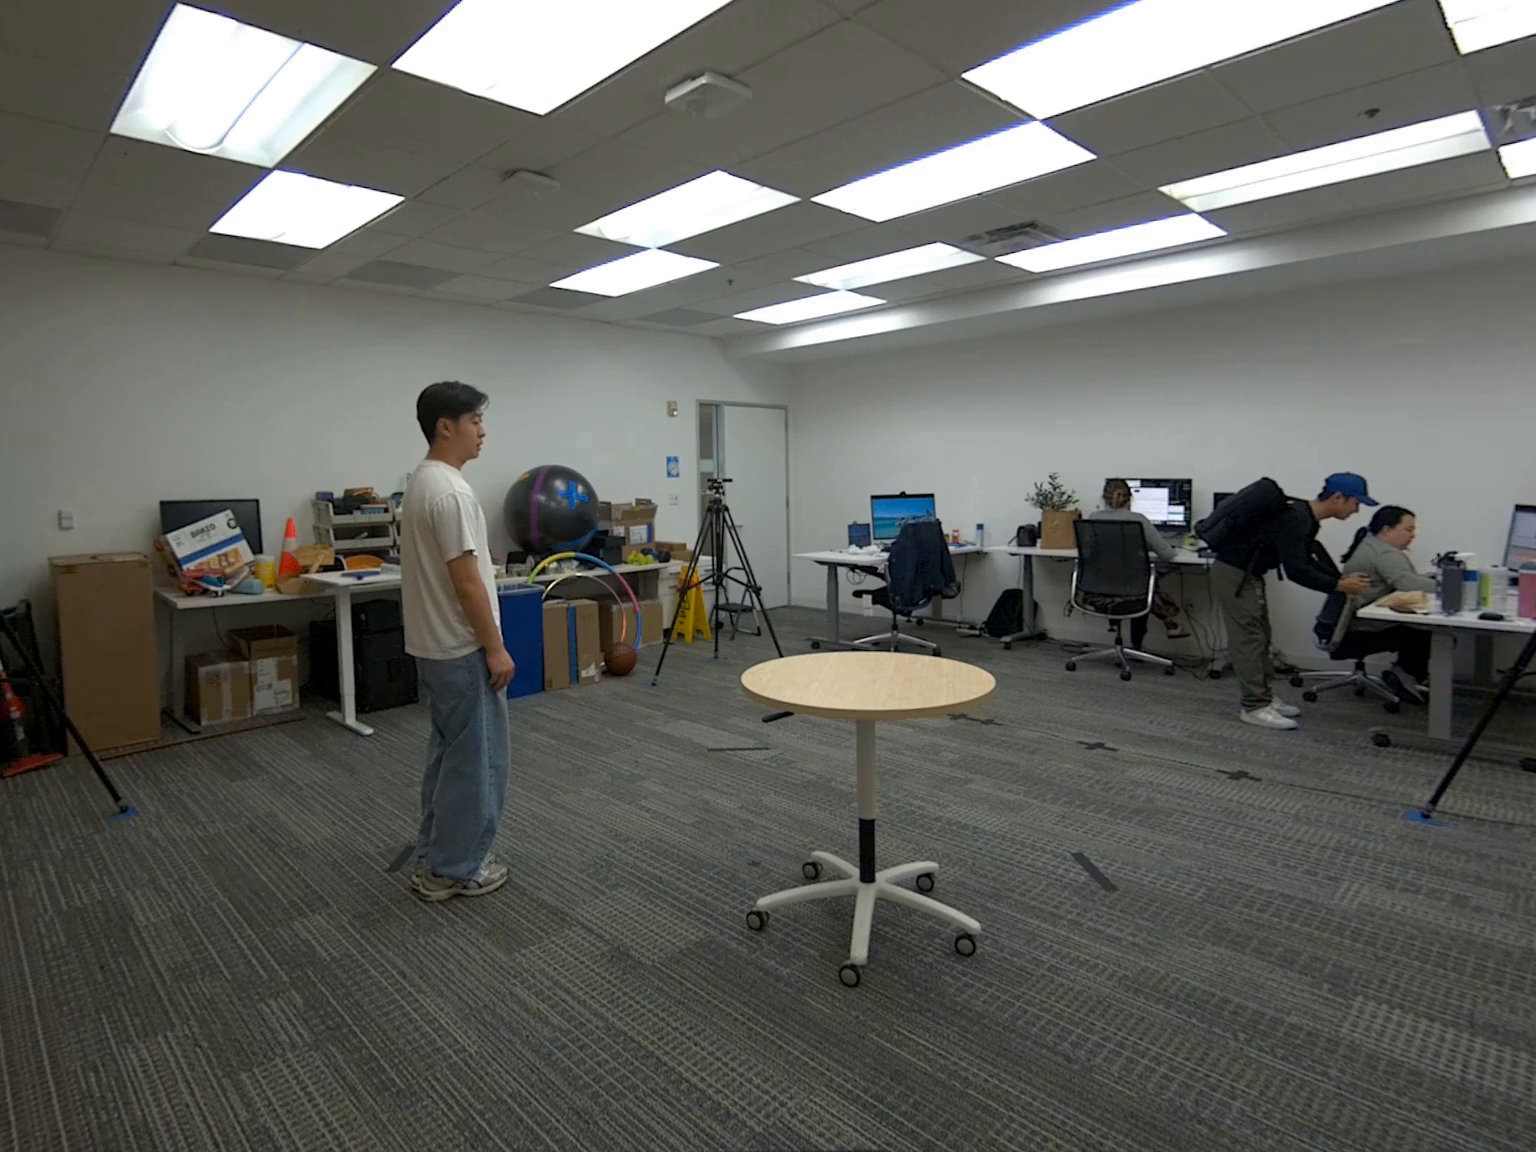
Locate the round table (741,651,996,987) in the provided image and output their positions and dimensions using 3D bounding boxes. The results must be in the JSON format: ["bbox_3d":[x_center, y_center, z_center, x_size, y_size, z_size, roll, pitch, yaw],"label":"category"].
[{"bbox_3d":[0.306,0.697,2.660,0.763,0.791,0.768,-1,5,-2],"label":"round table"}]
